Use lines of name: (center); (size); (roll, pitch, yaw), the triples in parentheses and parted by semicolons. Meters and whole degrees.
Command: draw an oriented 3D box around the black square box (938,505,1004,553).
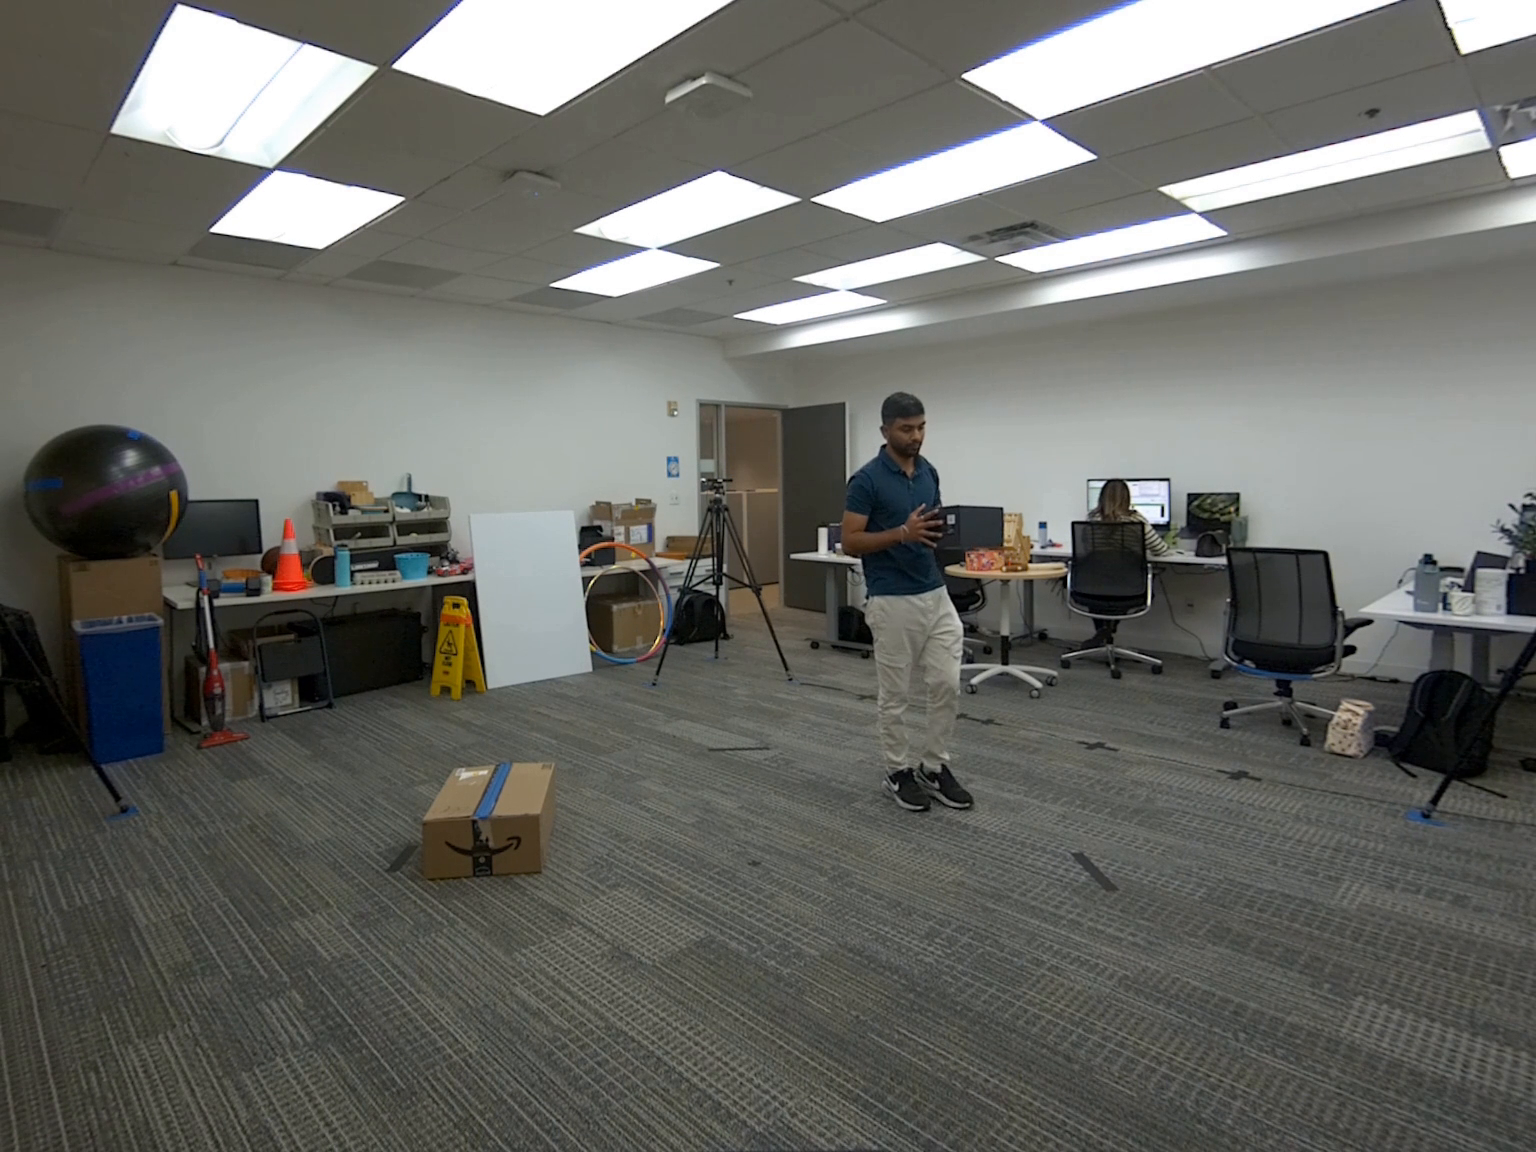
black square box: (0.755, -0.188, 3.333); (0.222, 0.156, 0.222); (0, 0, -28)
